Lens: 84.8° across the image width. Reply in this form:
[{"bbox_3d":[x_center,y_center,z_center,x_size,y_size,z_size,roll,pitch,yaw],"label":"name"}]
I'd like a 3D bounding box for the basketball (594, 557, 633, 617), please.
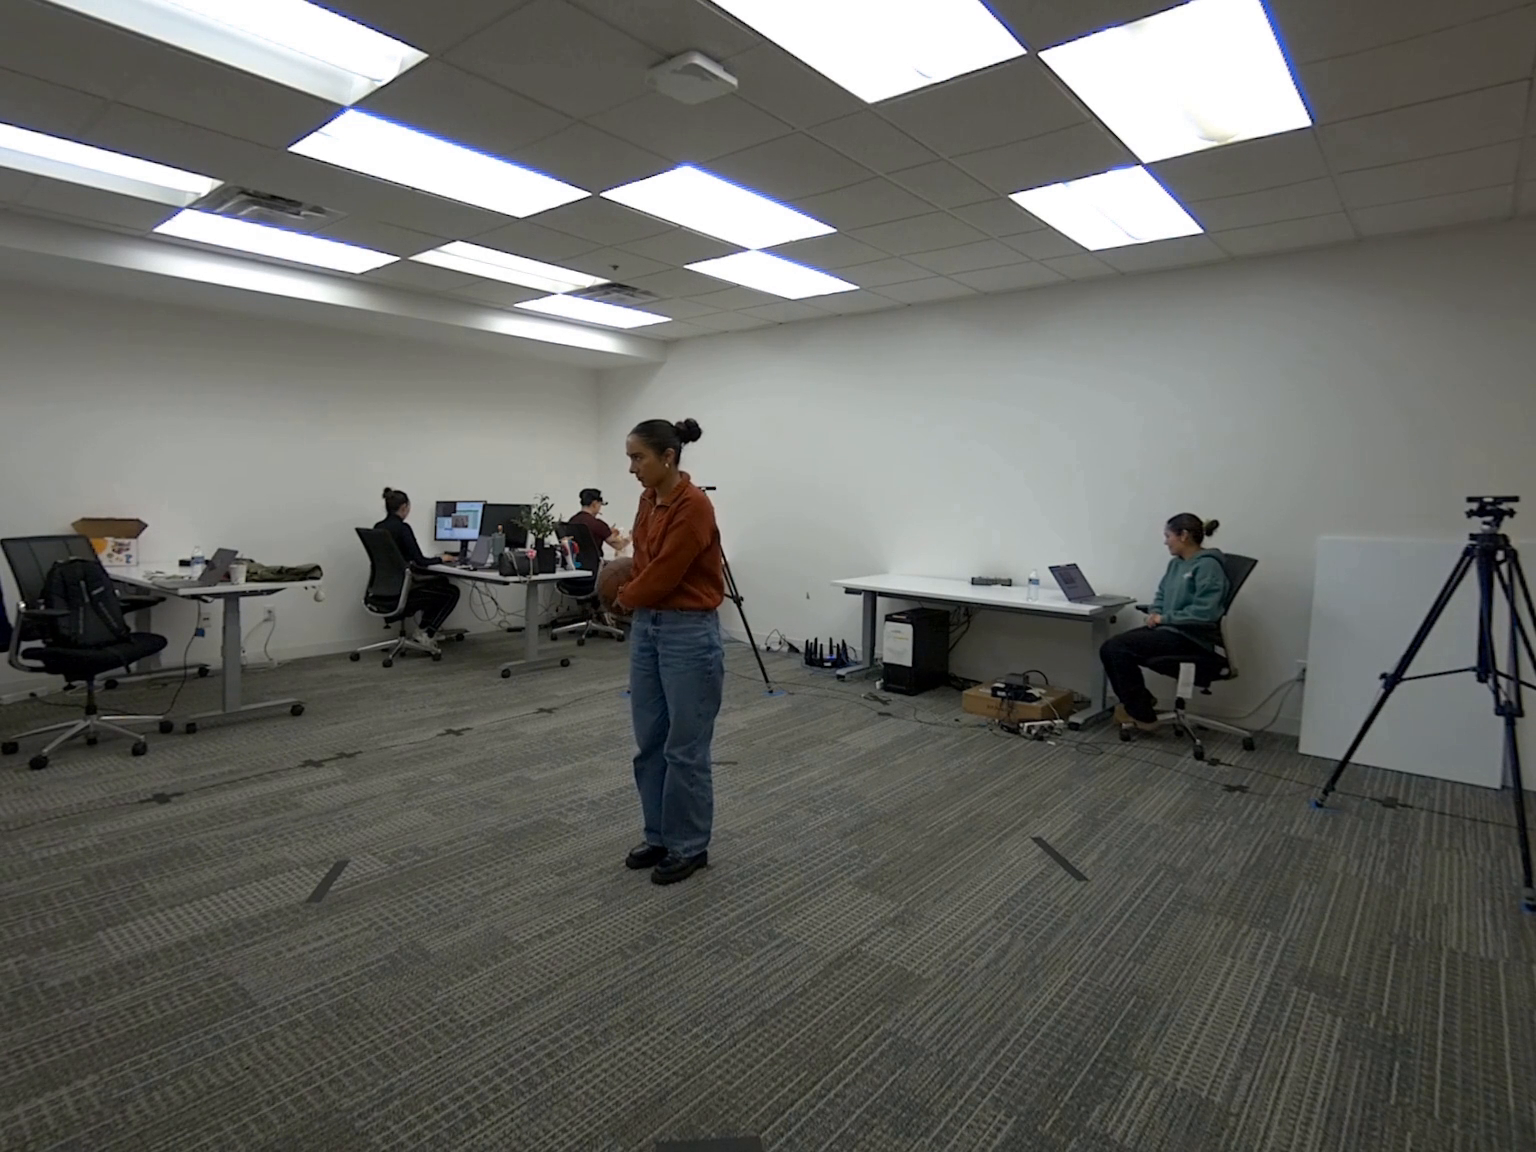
[{"bbox_3d":[-0.568,0.039,3.301,0.235,0.235,0.237,1,4,-2],"label":"basketball"}]
